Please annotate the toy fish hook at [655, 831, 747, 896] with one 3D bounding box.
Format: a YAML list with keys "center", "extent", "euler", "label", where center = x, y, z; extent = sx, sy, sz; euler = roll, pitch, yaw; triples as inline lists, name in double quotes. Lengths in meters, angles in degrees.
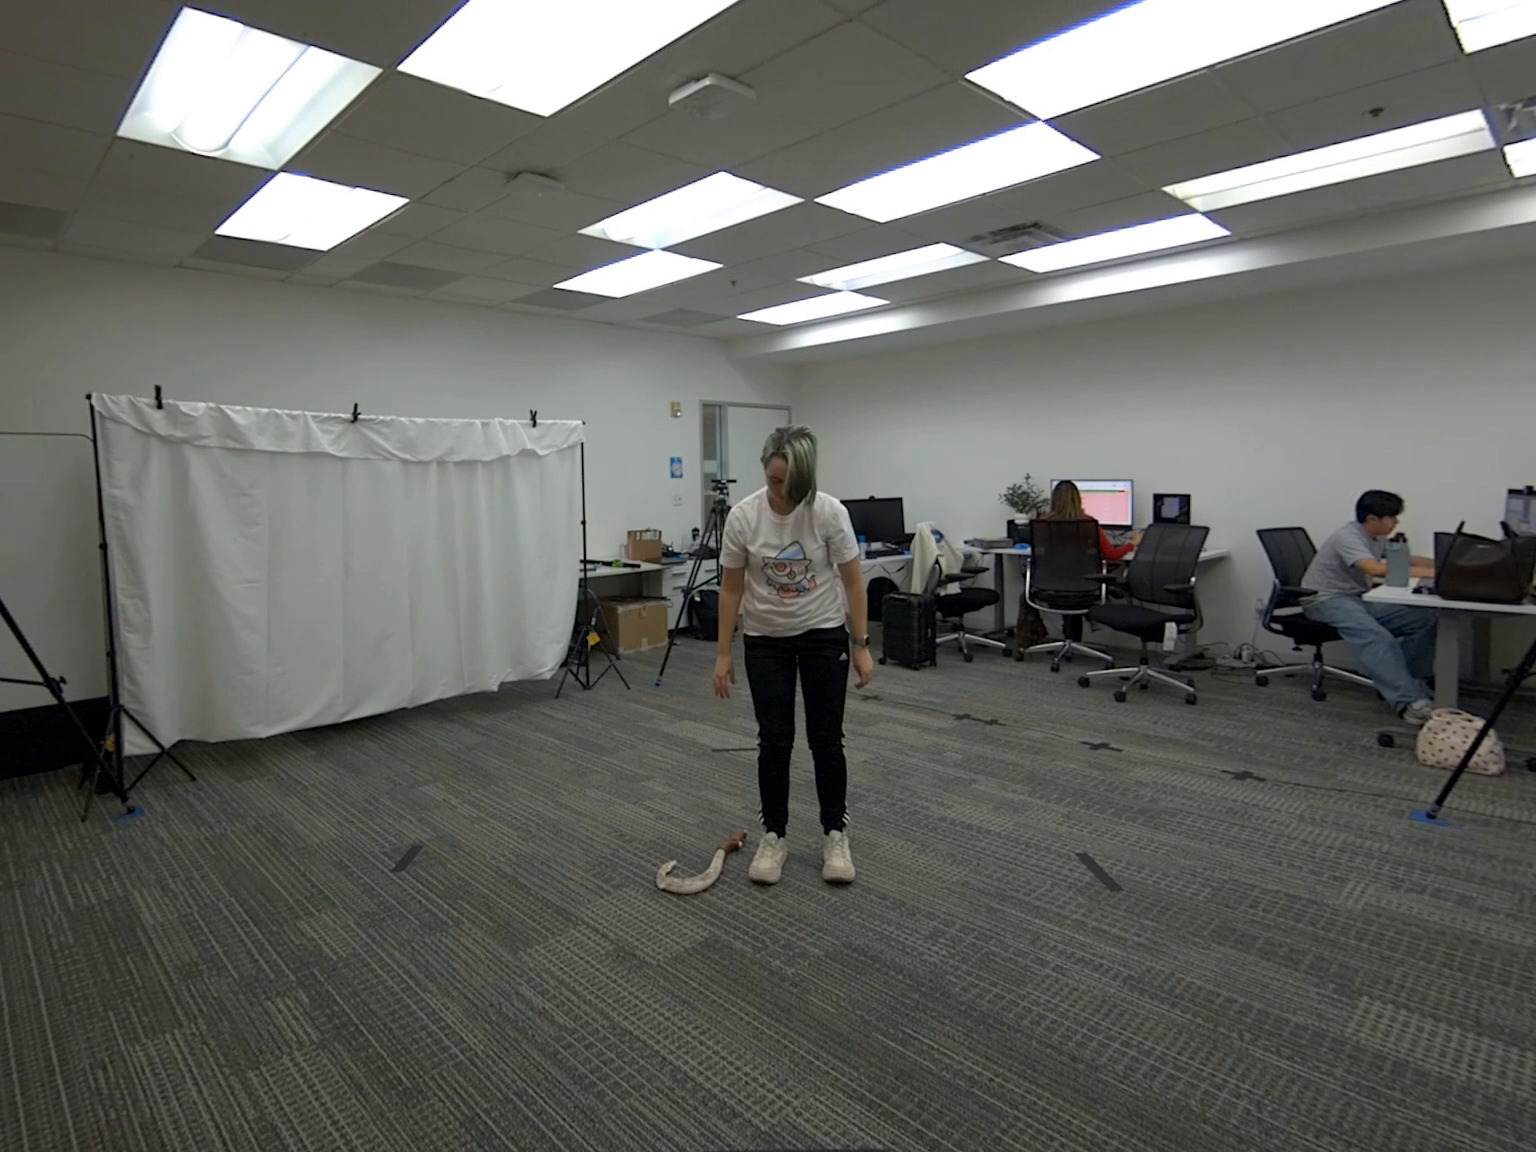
- center: [-0.233, 1.024, 3.118]
  extent: [0.229, 0.048, 0.498]
  euler: [3, 7, 22]
  label: "toy fish hook"
